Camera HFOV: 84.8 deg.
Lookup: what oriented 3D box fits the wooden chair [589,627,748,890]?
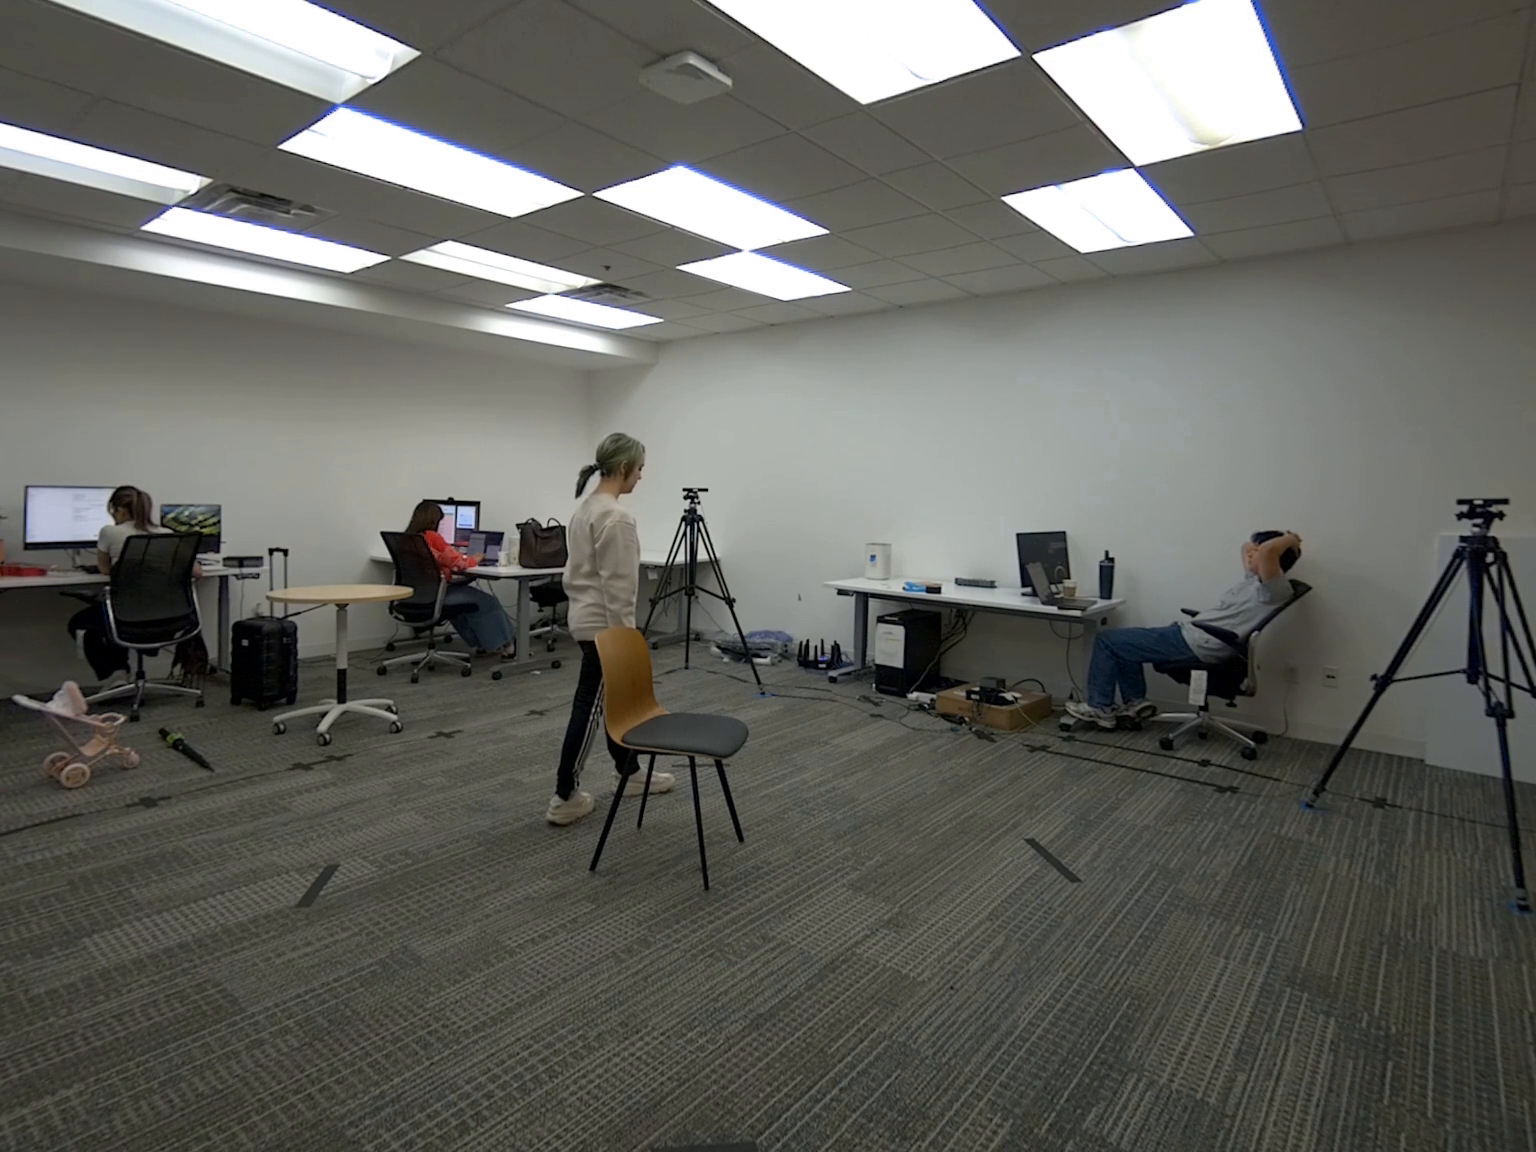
[{"bbox_3d":[-0.359,0.631,3.191,0.532,0.876,0.470,-2,2,17],"label":"wooden chair"}]
